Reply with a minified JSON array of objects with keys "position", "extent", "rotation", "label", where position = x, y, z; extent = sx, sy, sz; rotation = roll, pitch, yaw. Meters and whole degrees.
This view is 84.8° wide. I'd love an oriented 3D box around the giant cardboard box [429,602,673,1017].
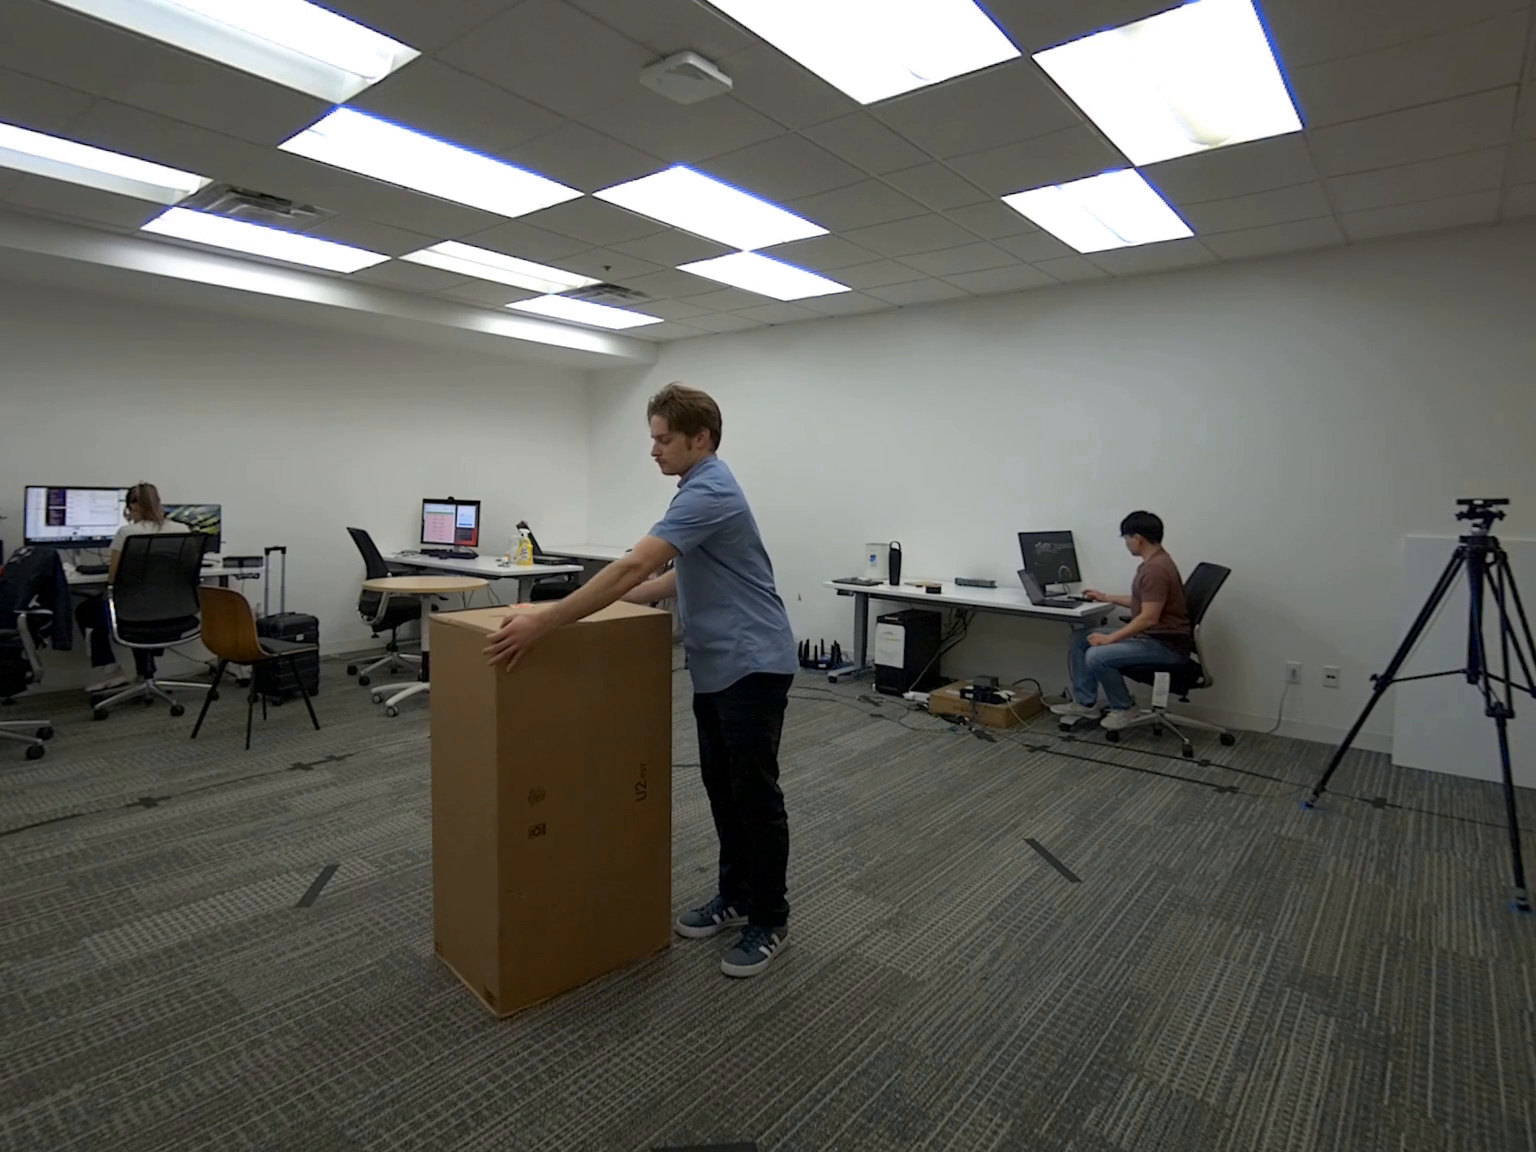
[{"position":[-0.649,0.615,2.516],"extent":[0.560,1.023,0.440],"rotation":[-3,4,-43],"label":"giant cardboard box"}]
